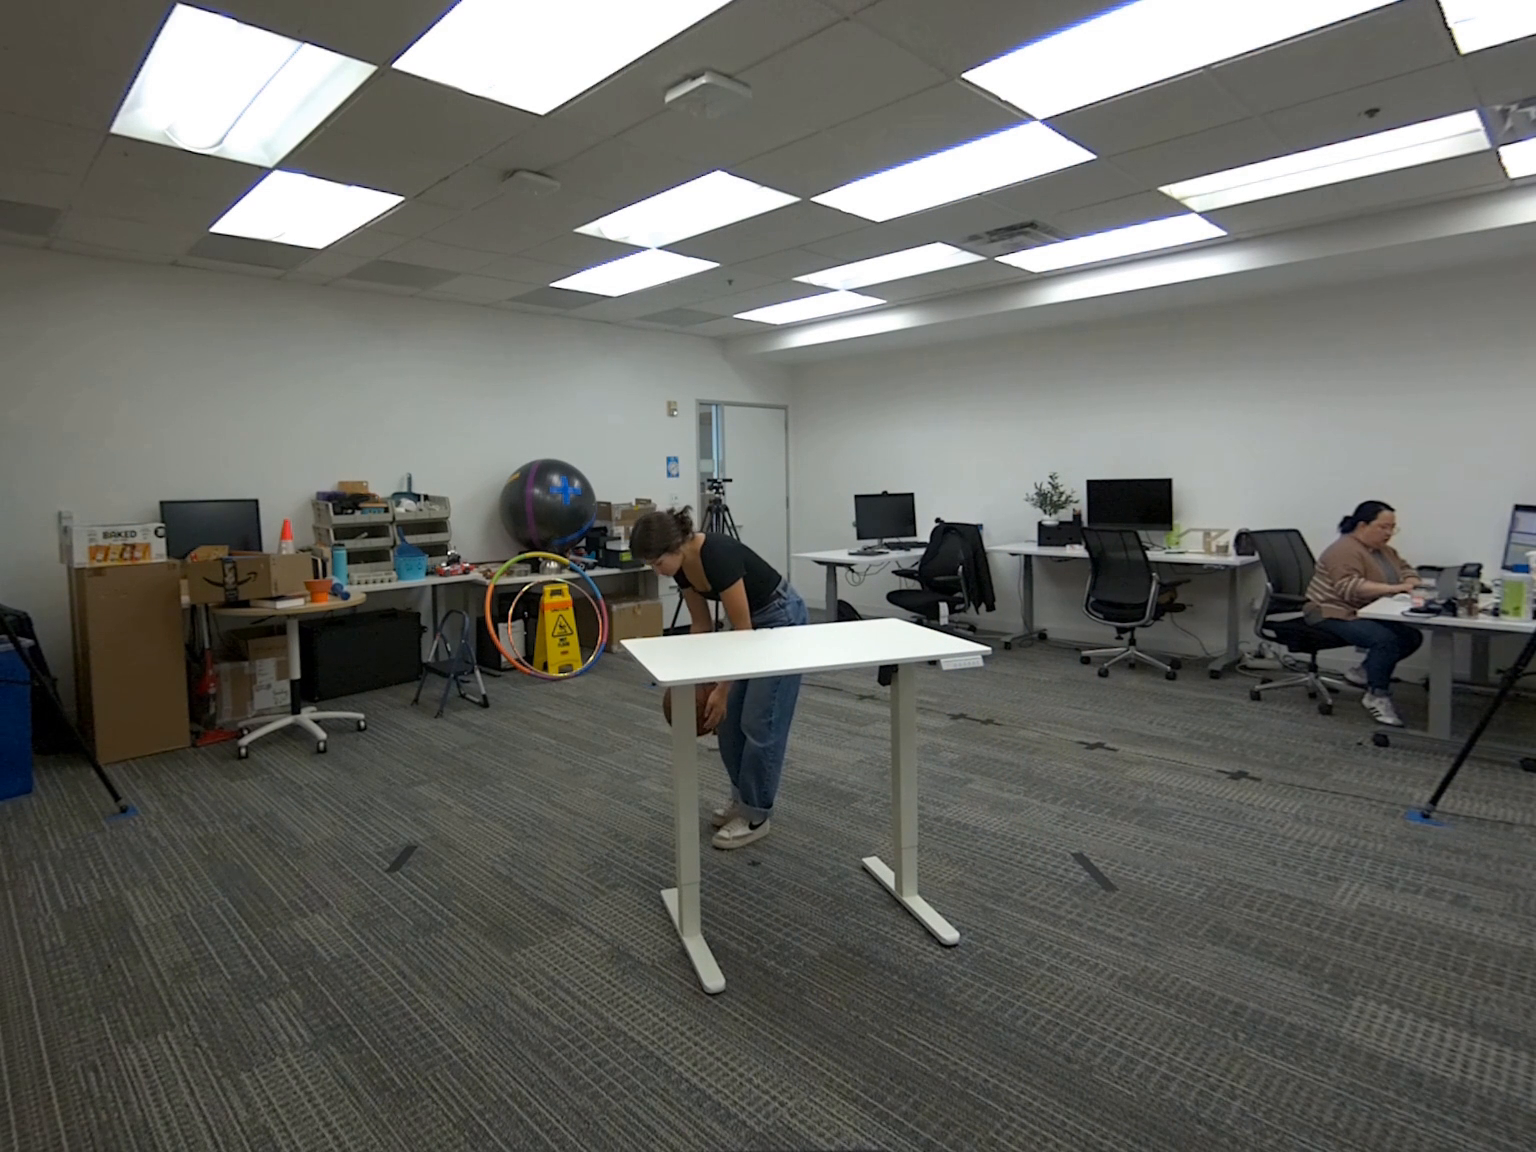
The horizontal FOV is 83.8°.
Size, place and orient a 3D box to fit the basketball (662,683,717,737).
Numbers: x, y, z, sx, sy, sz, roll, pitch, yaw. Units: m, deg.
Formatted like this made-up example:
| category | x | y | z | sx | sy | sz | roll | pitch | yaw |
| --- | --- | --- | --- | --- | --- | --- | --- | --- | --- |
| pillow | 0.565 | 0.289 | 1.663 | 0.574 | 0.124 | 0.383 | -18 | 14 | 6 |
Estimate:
| category | x | y | z | sx | sy | sz | roll | pitch | yaw |
| --- | --- | --- | --- | --- | --- | --- | --- | --- | --- |
| basketball | -0.272 | 0.491 | 3.251 | 0.236 | 0.235 | 0.237 | -1 | 5 | -2 |
